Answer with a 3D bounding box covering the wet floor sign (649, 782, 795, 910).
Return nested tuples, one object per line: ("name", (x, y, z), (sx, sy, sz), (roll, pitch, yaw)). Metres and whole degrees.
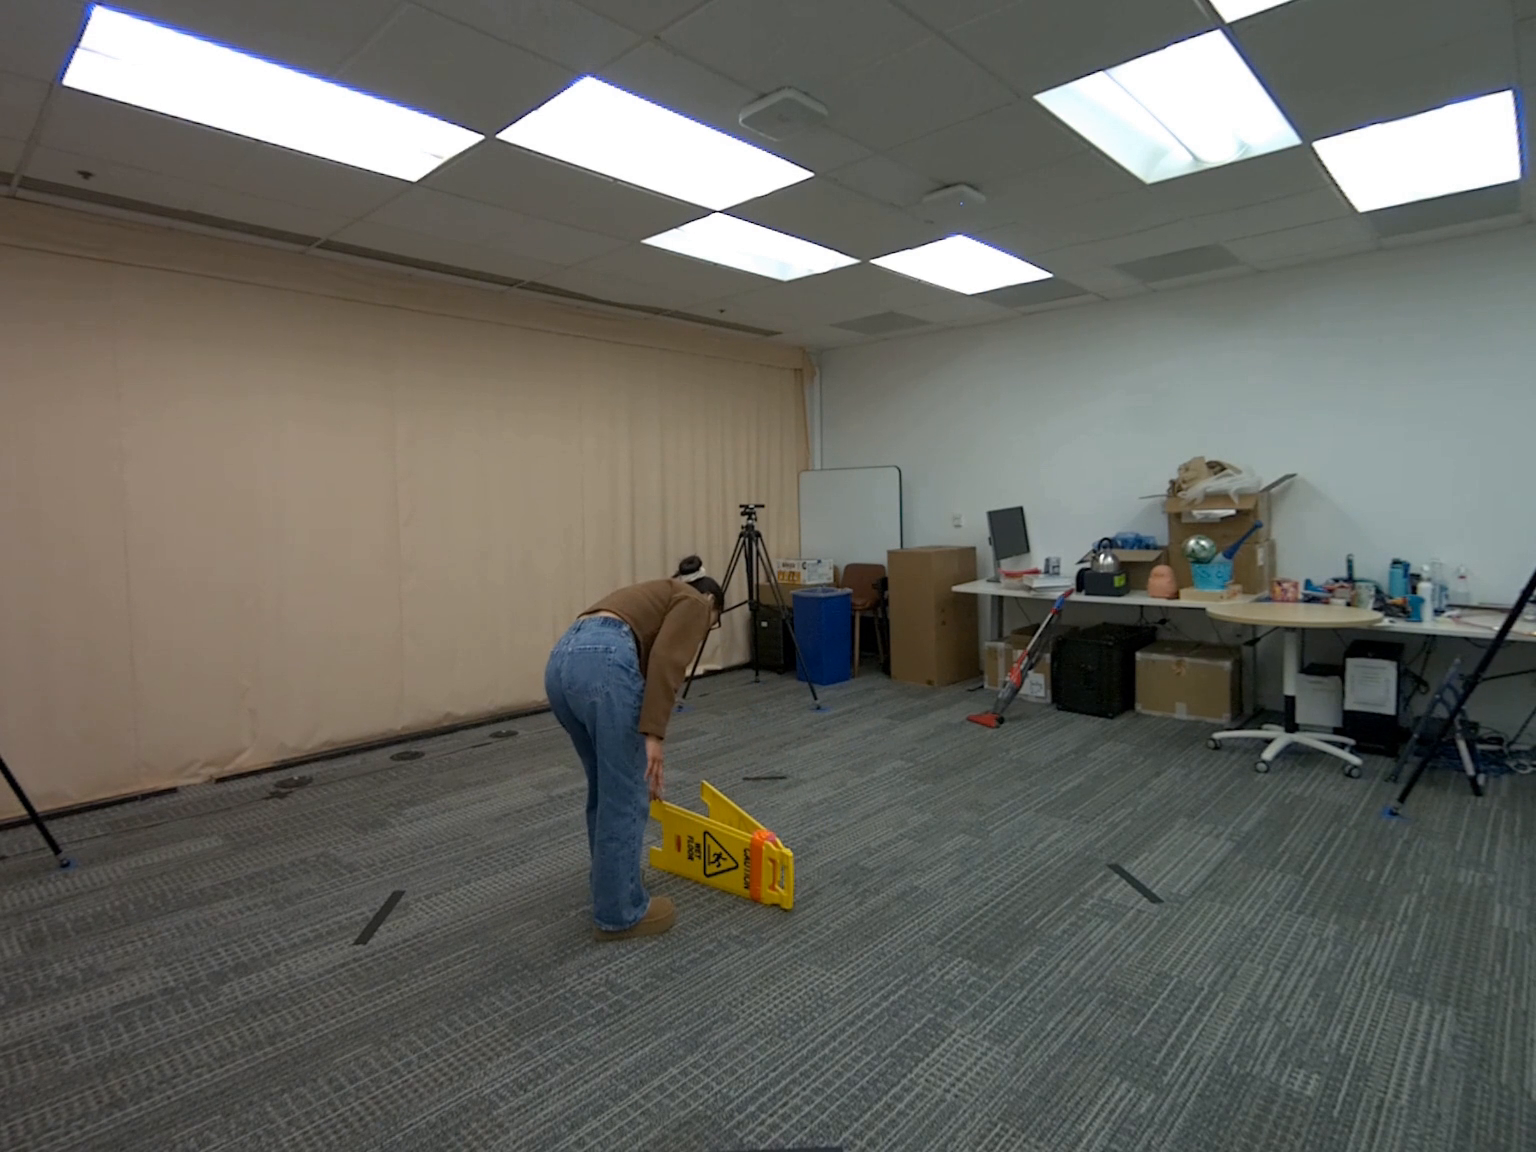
("wet floor sign", (-0.139, 1.006, 3.105), (0.281, 0.281, 0.668), (-4, 8, -42))
